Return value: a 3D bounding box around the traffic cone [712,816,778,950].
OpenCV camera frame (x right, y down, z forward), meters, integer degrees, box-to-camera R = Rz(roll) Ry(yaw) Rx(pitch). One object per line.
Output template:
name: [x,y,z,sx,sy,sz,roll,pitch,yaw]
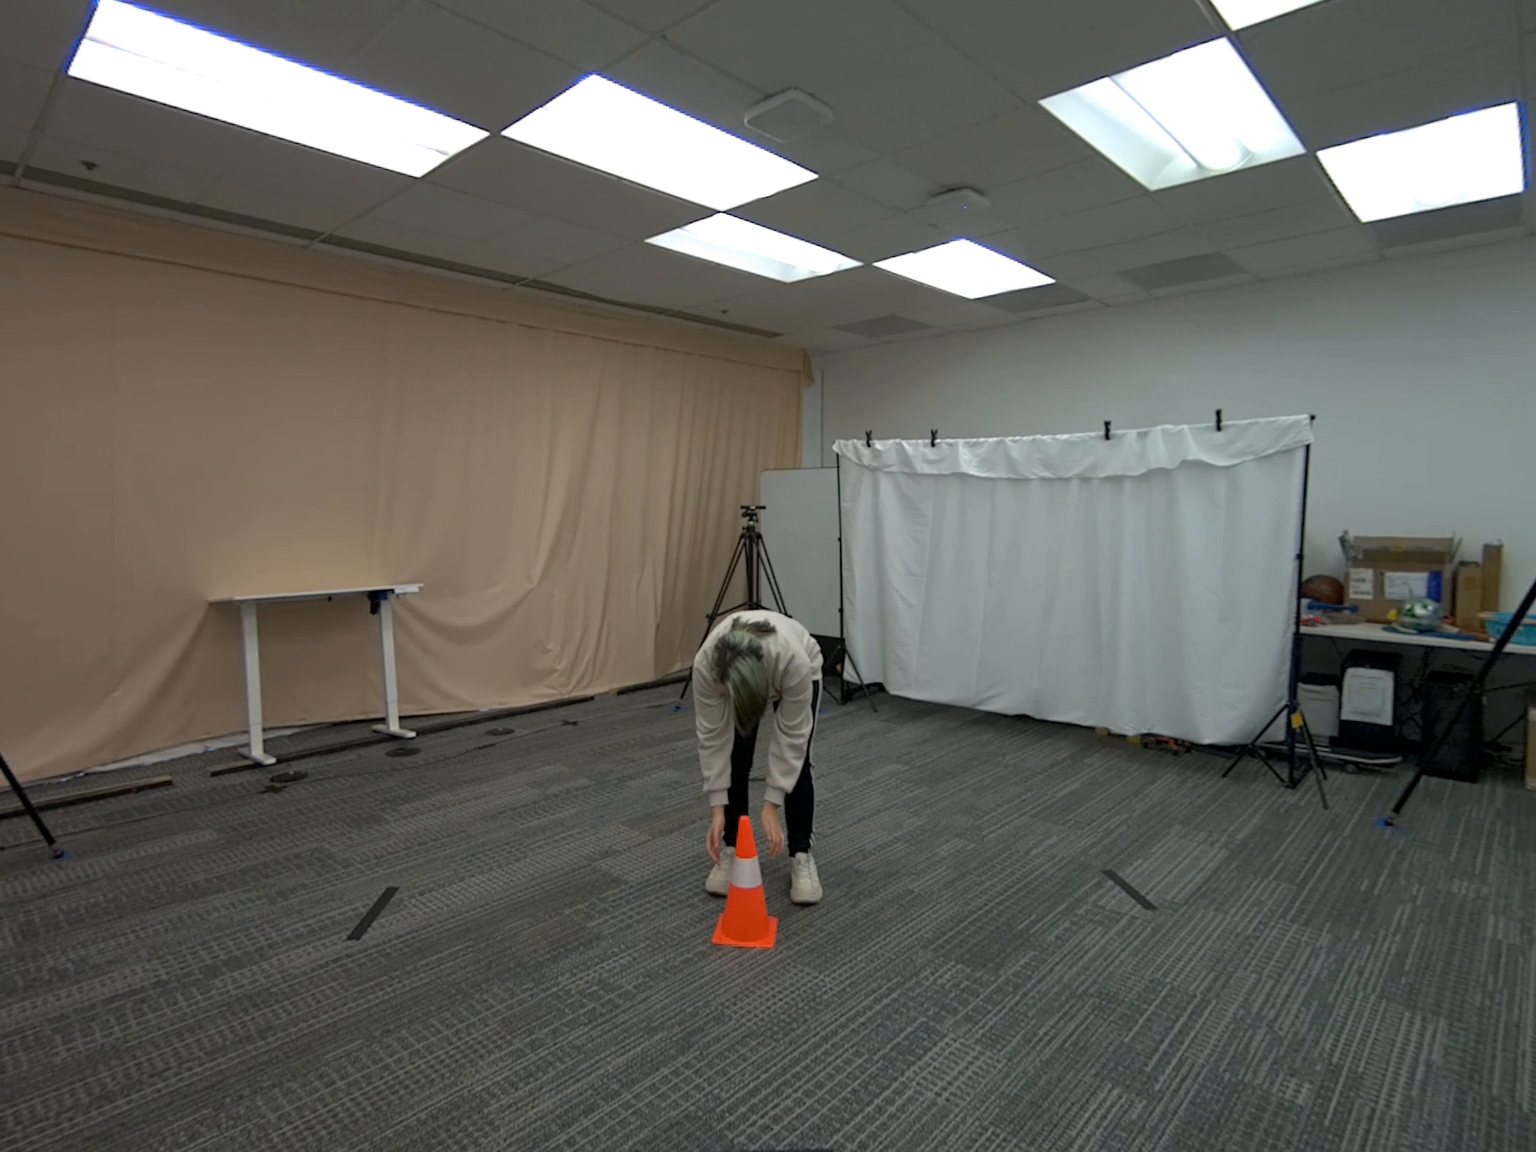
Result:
traffic cone: [-0.070,0.978,2.748,0.207,0.383,0.202,0,3,8]
